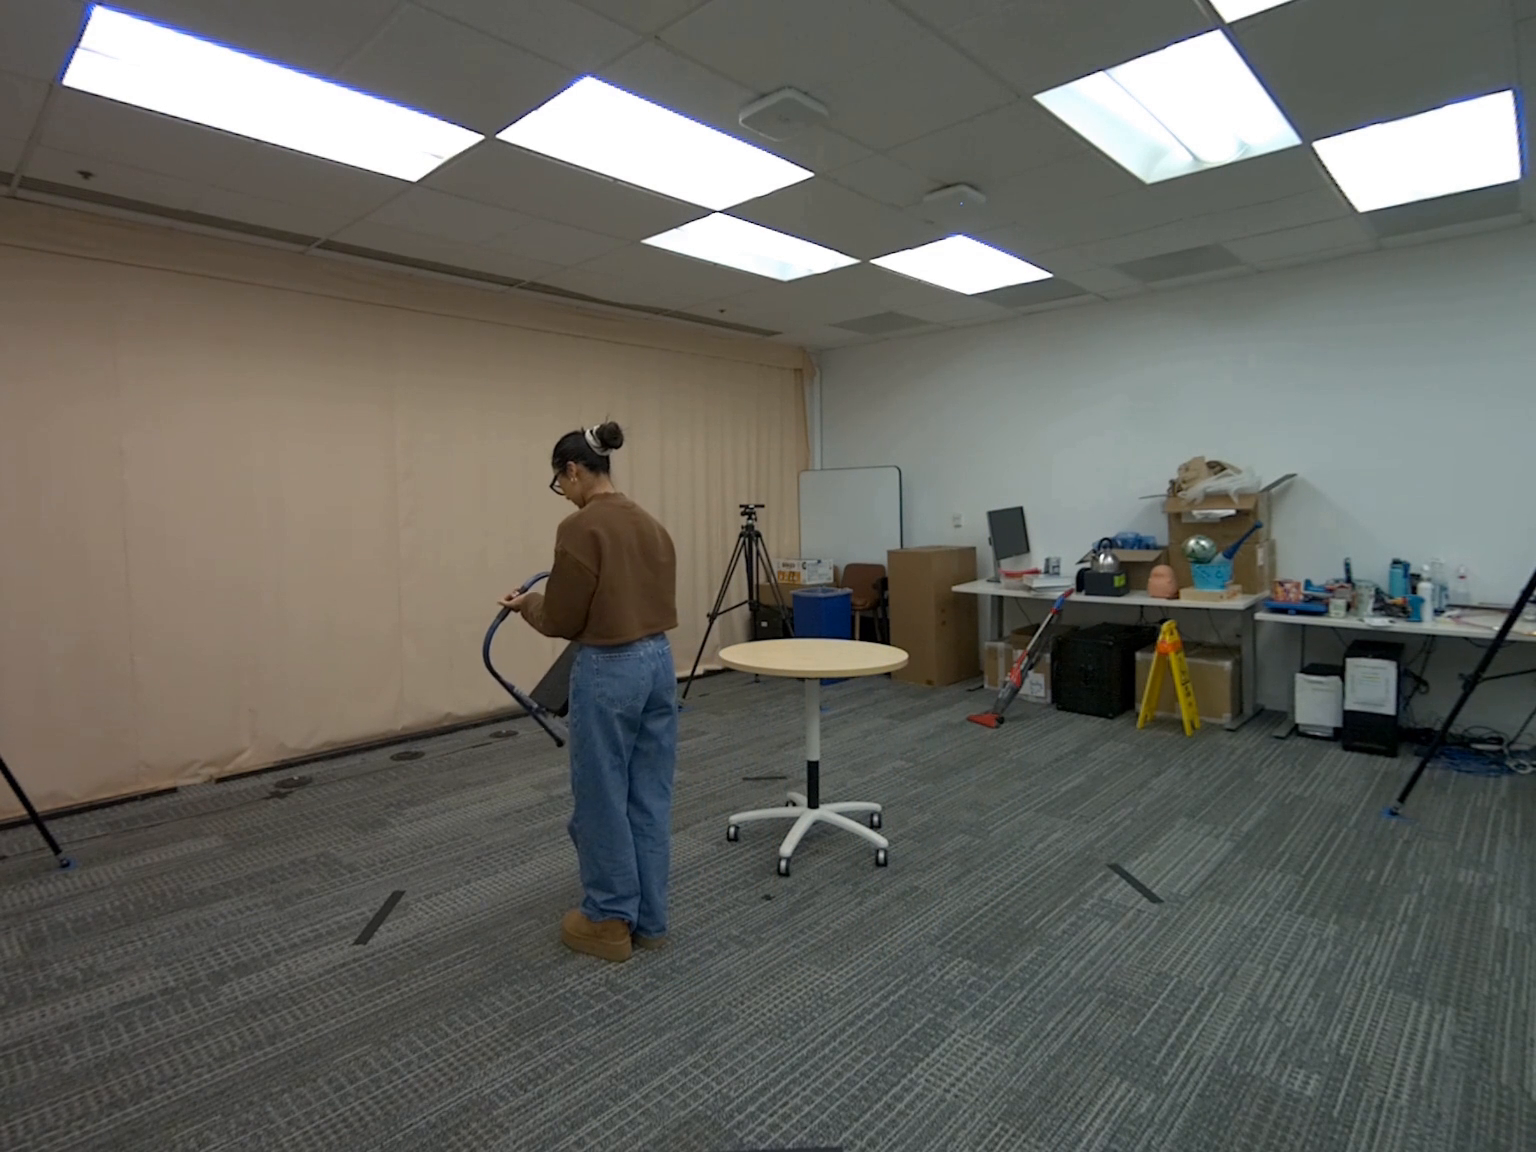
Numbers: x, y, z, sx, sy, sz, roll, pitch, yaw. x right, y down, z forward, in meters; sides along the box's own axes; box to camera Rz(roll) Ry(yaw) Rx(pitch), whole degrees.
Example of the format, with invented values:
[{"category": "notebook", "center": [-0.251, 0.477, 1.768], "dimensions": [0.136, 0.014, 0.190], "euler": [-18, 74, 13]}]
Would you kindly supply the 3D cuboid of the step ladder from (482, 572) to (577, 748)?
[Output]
[{"category": "step ladder", "center": [-0.720, 0.285, 2.920], "dimensions": [0.360, 0.429, 0.588], "euler": [3, -40, 51]}]
